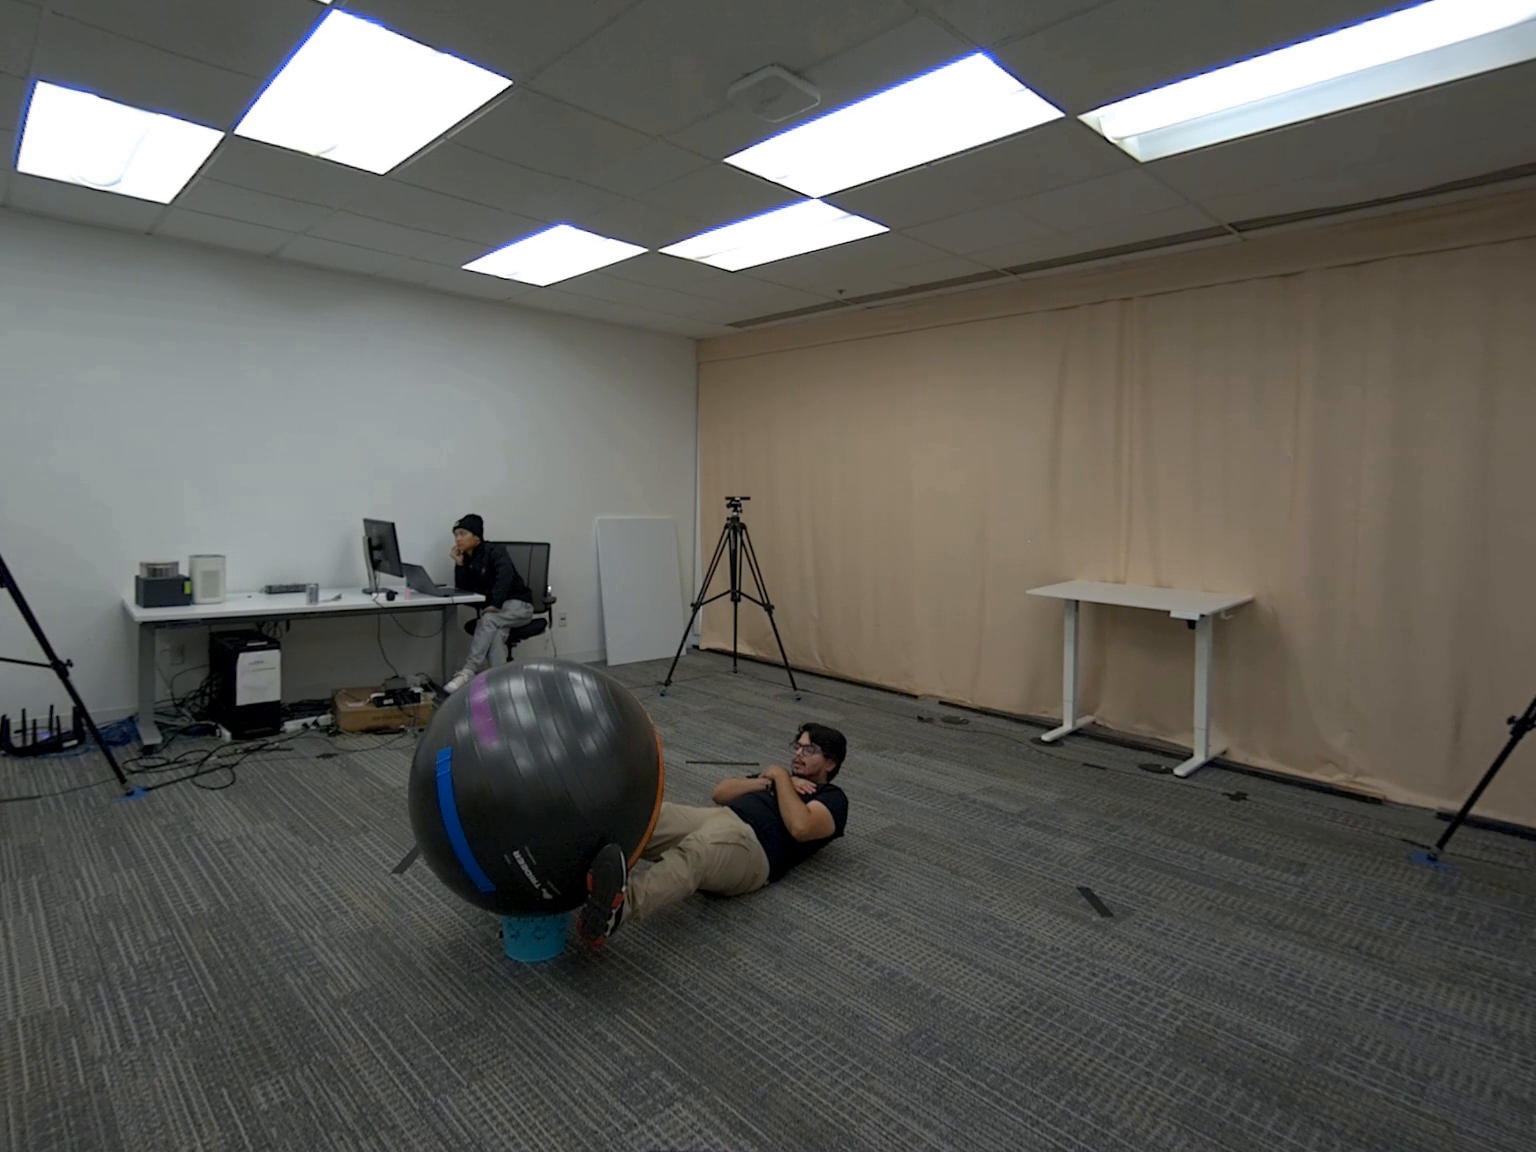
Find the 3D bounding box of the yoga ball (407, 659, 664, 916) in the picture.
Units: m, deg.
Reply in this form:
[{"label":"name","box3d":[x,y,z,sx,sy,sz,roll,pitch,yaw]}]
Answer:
[{"label":"yoga ball","box3d":[-0.706,0.637,2.567,0.757,0.756,0.761,1,4,-1]}]
